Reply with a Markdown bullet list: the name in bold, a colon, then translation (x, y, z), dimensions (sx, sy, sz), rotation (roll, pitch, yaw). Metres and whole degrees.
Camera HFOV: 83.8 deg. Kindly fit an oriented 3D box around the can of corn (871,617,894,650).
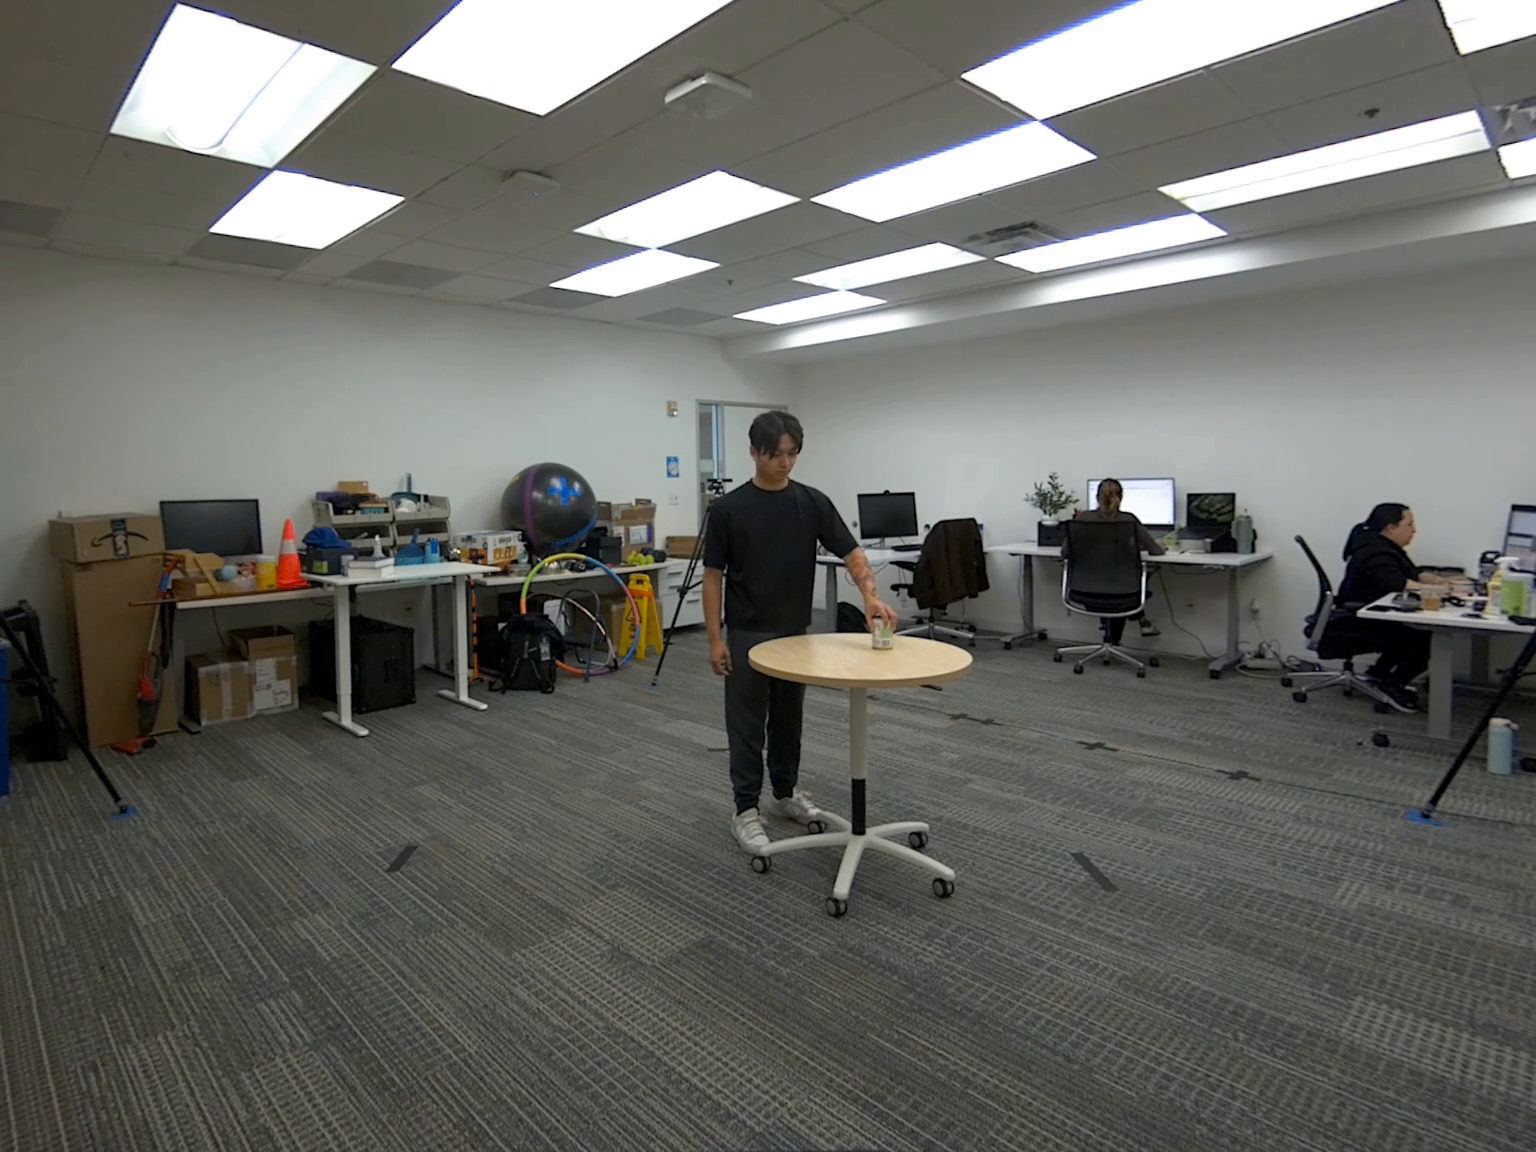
- **can of corn**: translation (0.409, 0.201, 3.060), dimensions (0.074, 0.111, 0.074), rotation (-1, 3, -2)
